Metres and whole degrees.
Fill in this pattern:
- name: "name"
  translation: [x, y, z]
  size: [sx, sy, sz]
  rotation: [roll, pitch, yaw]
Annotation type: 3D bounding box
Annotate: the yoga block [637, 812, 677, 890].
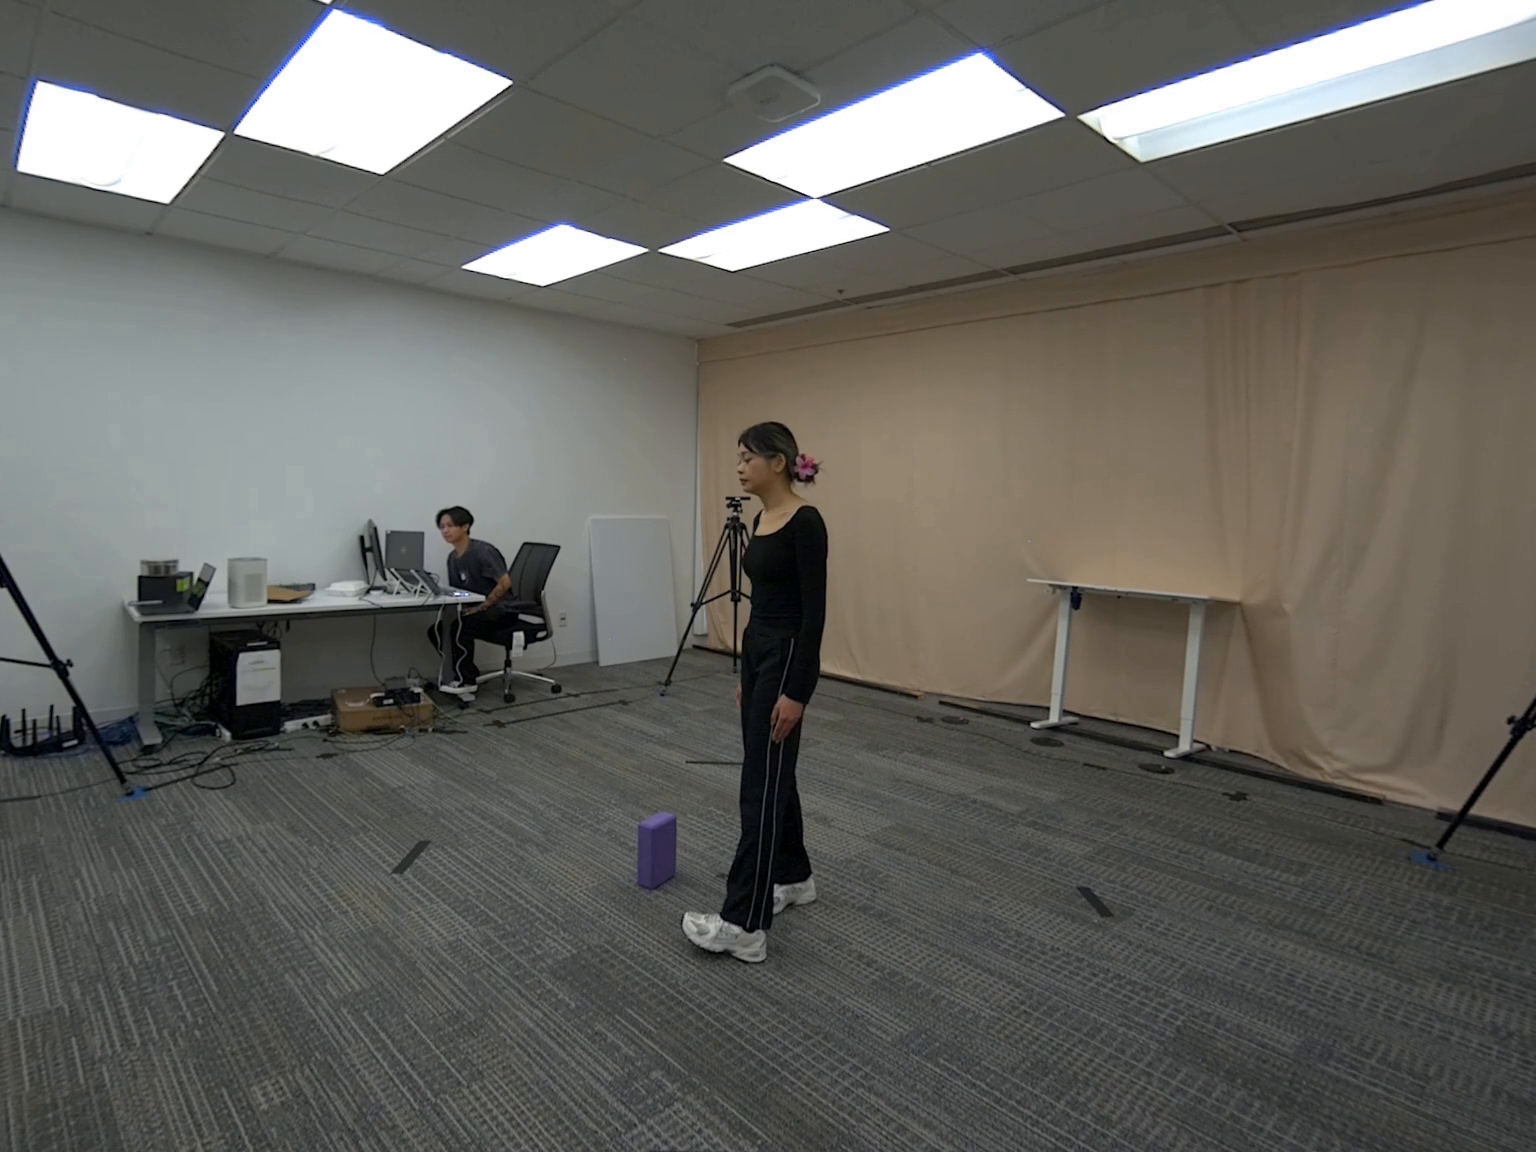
- name: "yoga block"
  translation: [-0.406, 0.990, 3.046]
  size: [0.078, 0.229, 0.146]
  rotation: [3, 4, 28]
